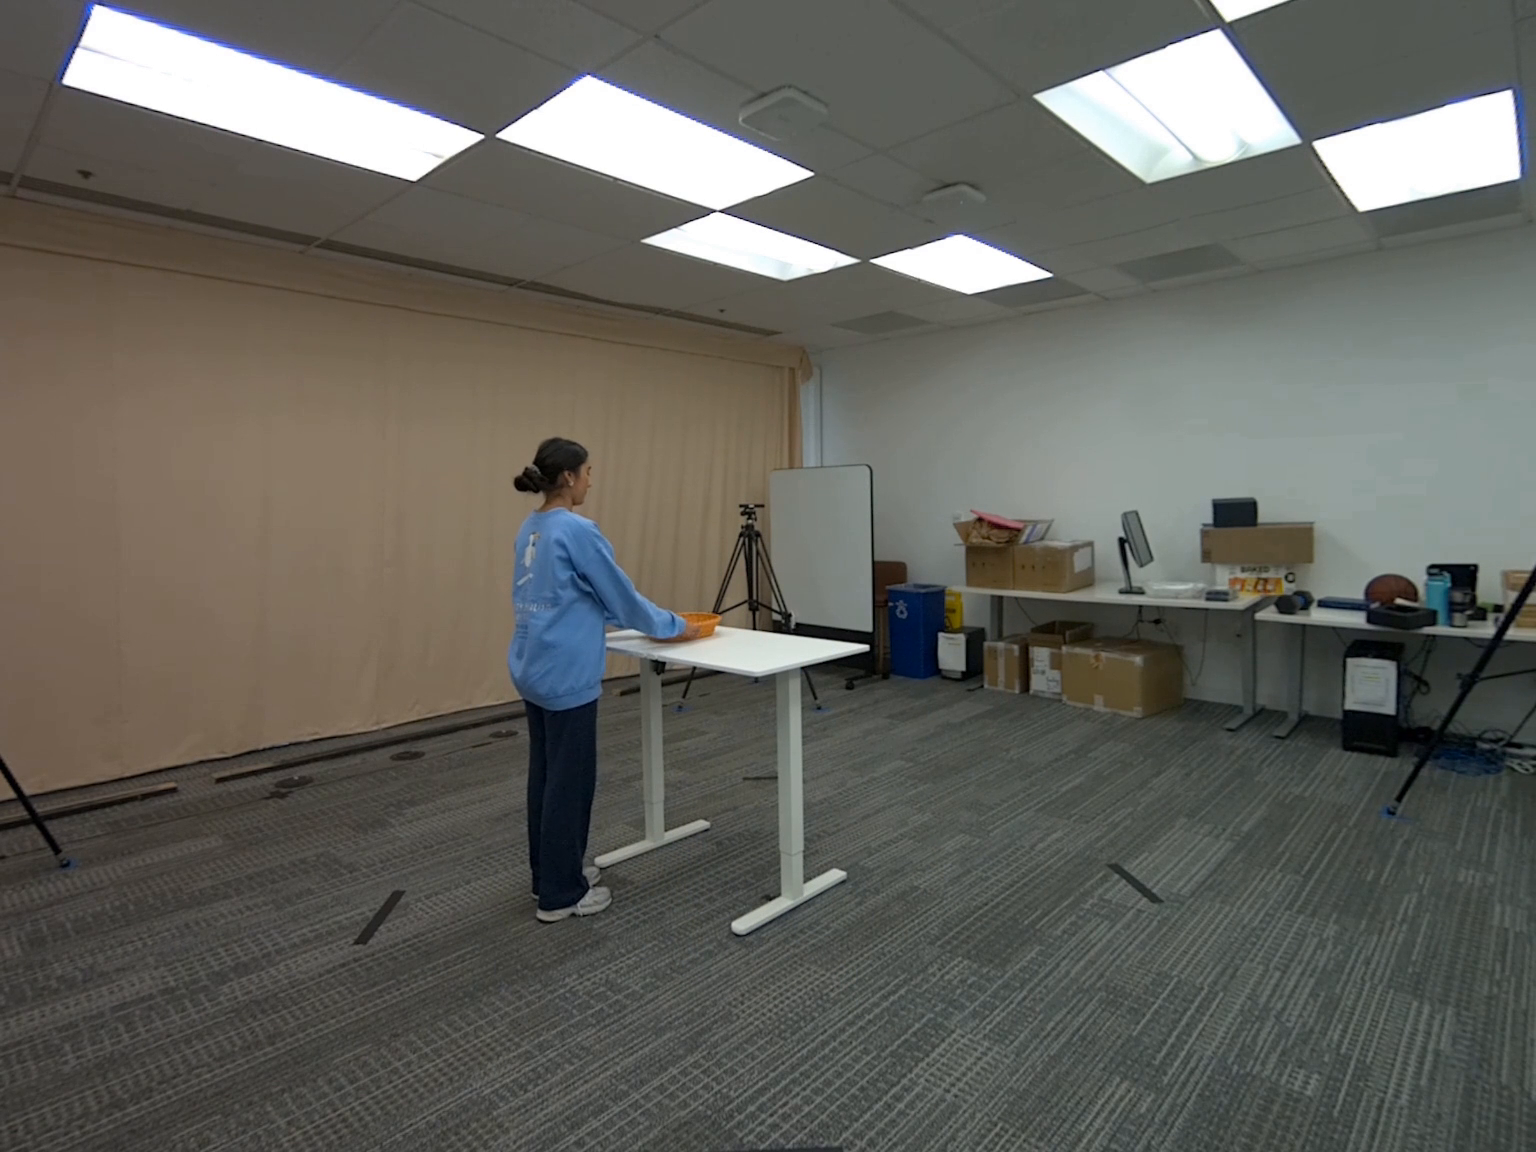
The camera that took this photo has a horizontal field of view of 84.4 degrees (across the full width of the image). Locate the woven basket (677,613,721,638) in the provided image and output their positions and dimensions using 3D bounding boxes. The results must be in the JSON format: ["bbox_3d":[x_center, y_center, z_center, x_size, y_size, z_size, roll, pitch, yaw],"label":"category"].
[{"bbox_3d":[-0.325,0.204,3.279,0.254,0.073,0.349,0,6,5],"label":"woven basket"}]
